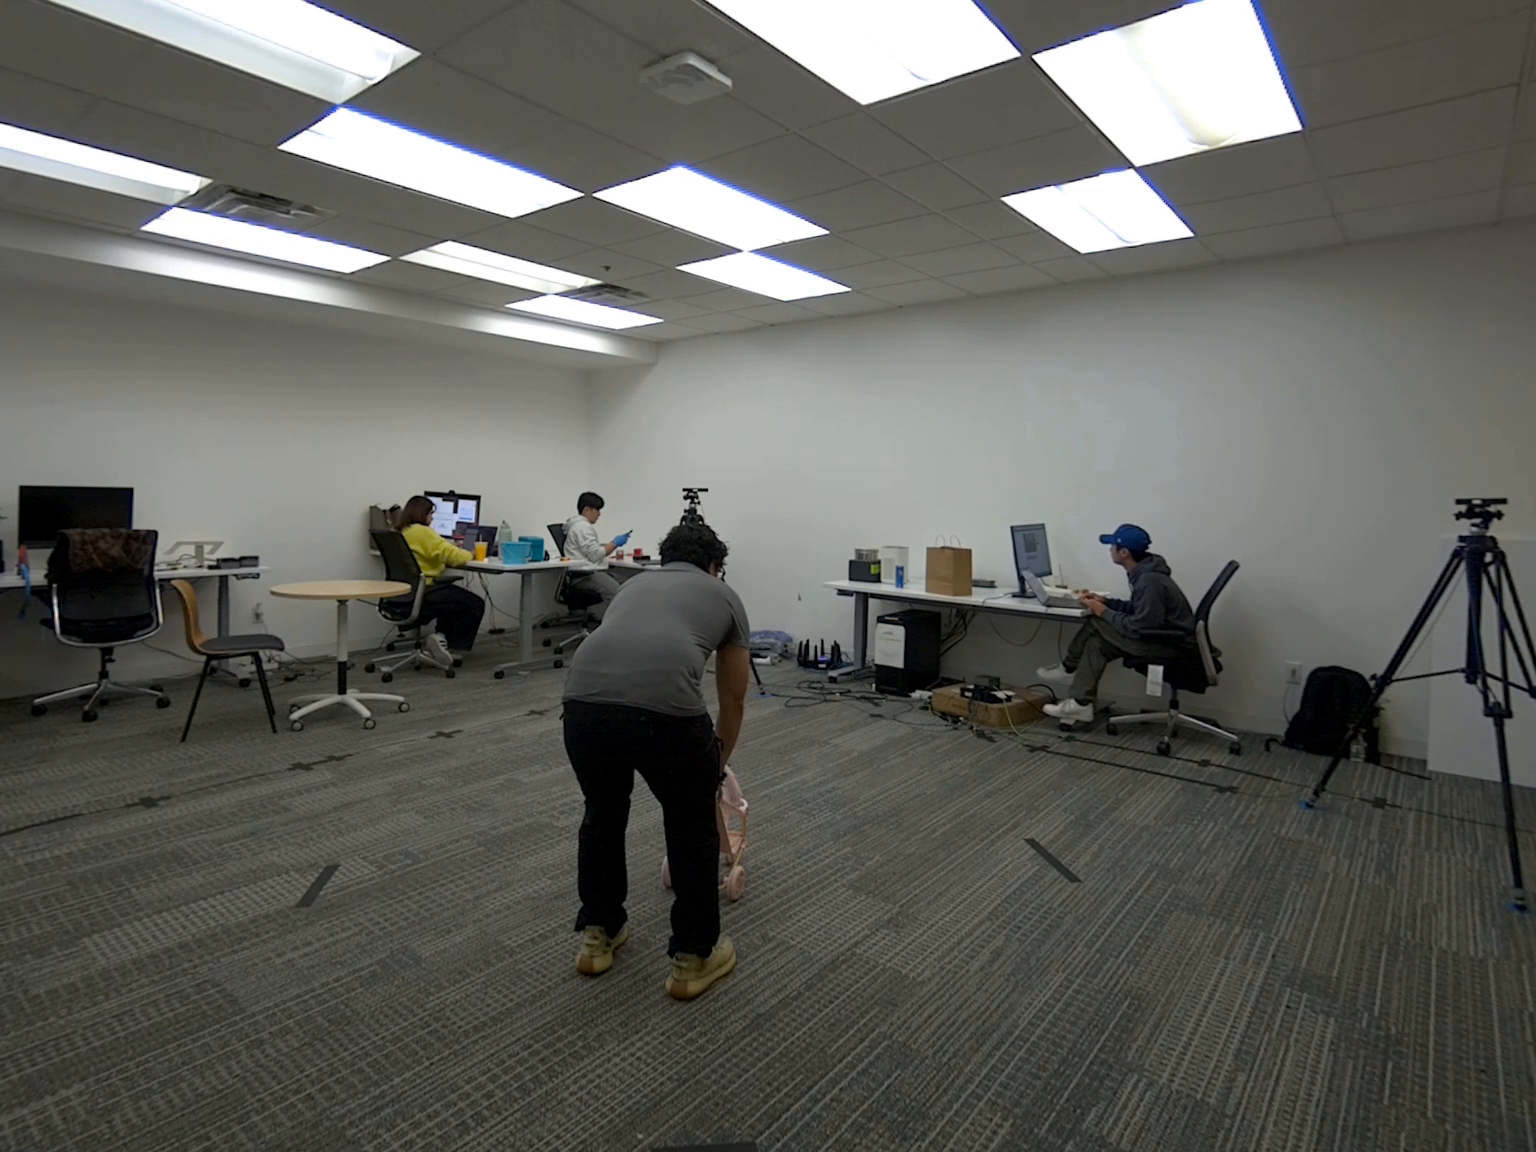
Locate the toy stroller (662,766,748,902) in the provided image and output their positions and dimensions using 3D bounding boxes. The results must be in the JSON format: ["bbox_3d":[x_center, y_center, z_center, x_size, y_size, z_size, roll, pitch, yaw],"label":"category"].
[{"bbox_3d":[-0.206,0.859,2.978,0.289,0.524,0.339,4,22,24],"label":"toy stroller"}]
